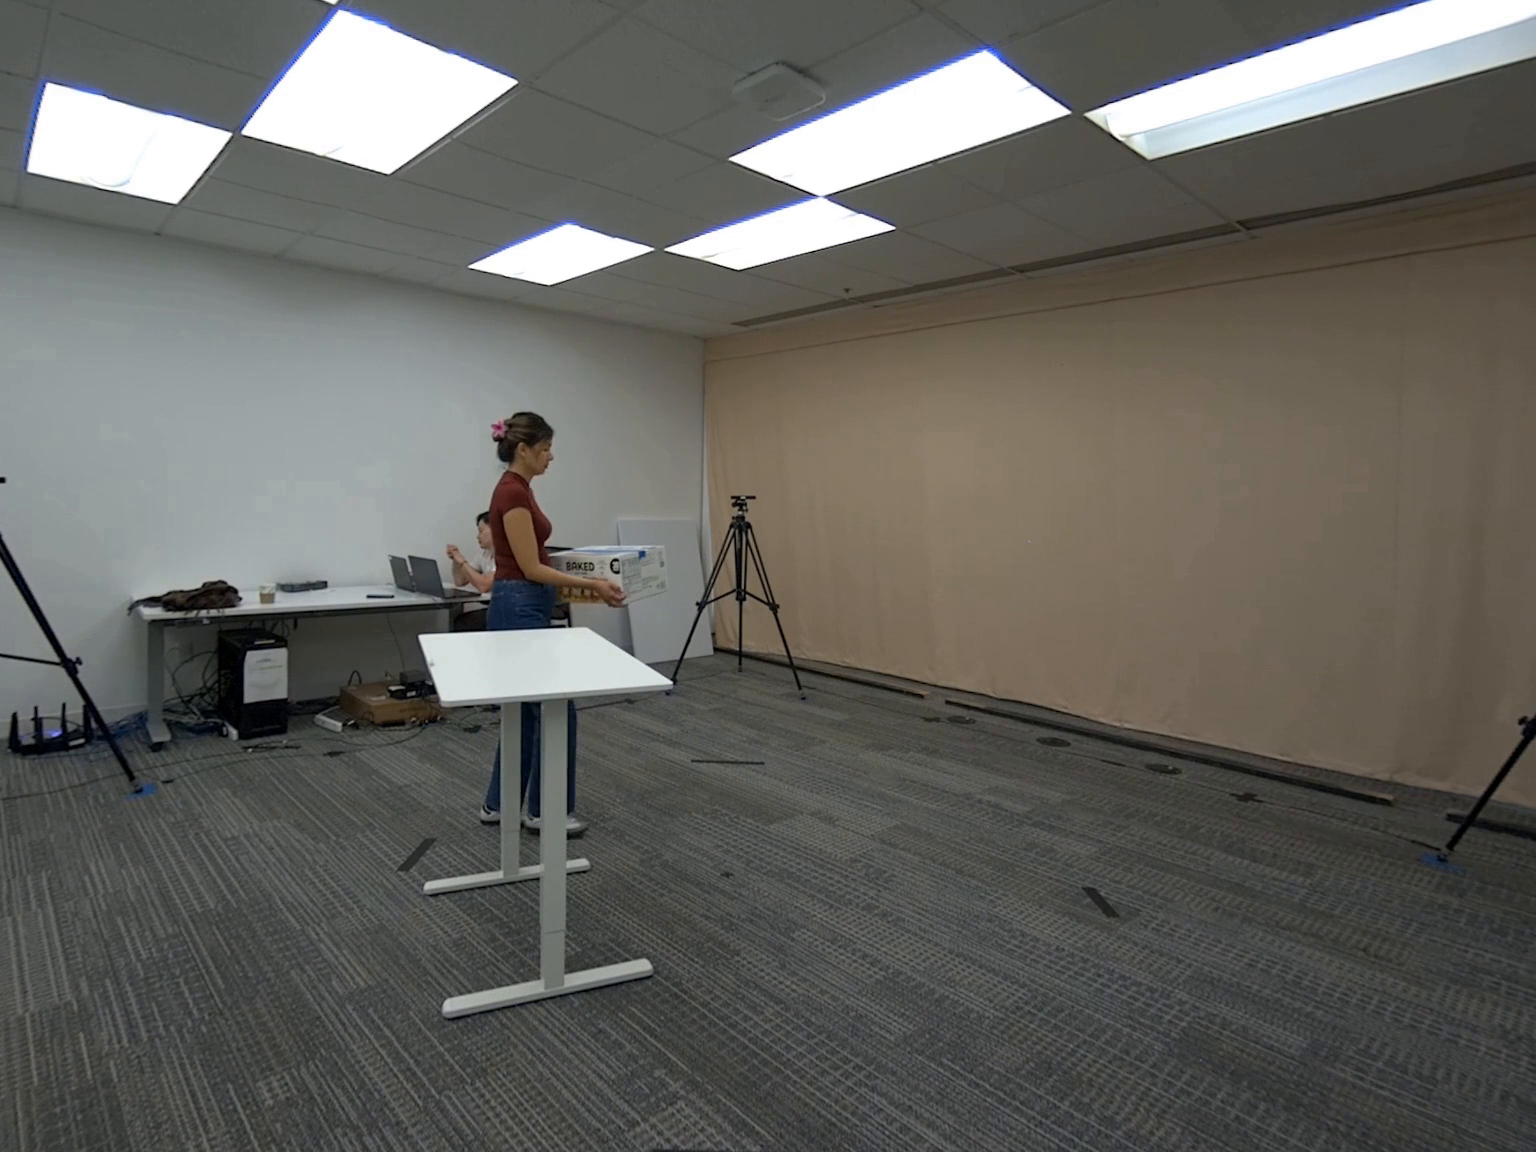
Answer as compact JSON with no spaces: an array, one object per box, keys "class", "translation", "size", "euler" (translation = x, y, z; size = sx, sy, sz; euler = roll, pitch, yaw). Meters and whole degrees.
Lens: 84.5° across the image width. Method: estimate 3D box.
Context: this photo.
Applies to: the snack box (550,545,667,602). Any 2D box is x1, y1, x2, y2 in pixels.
[{"class":"snack box","translation":[-0.708,-0.009,3.653],"size":[0.413,0.204,0.335],"euler":[1,9,27]}]
